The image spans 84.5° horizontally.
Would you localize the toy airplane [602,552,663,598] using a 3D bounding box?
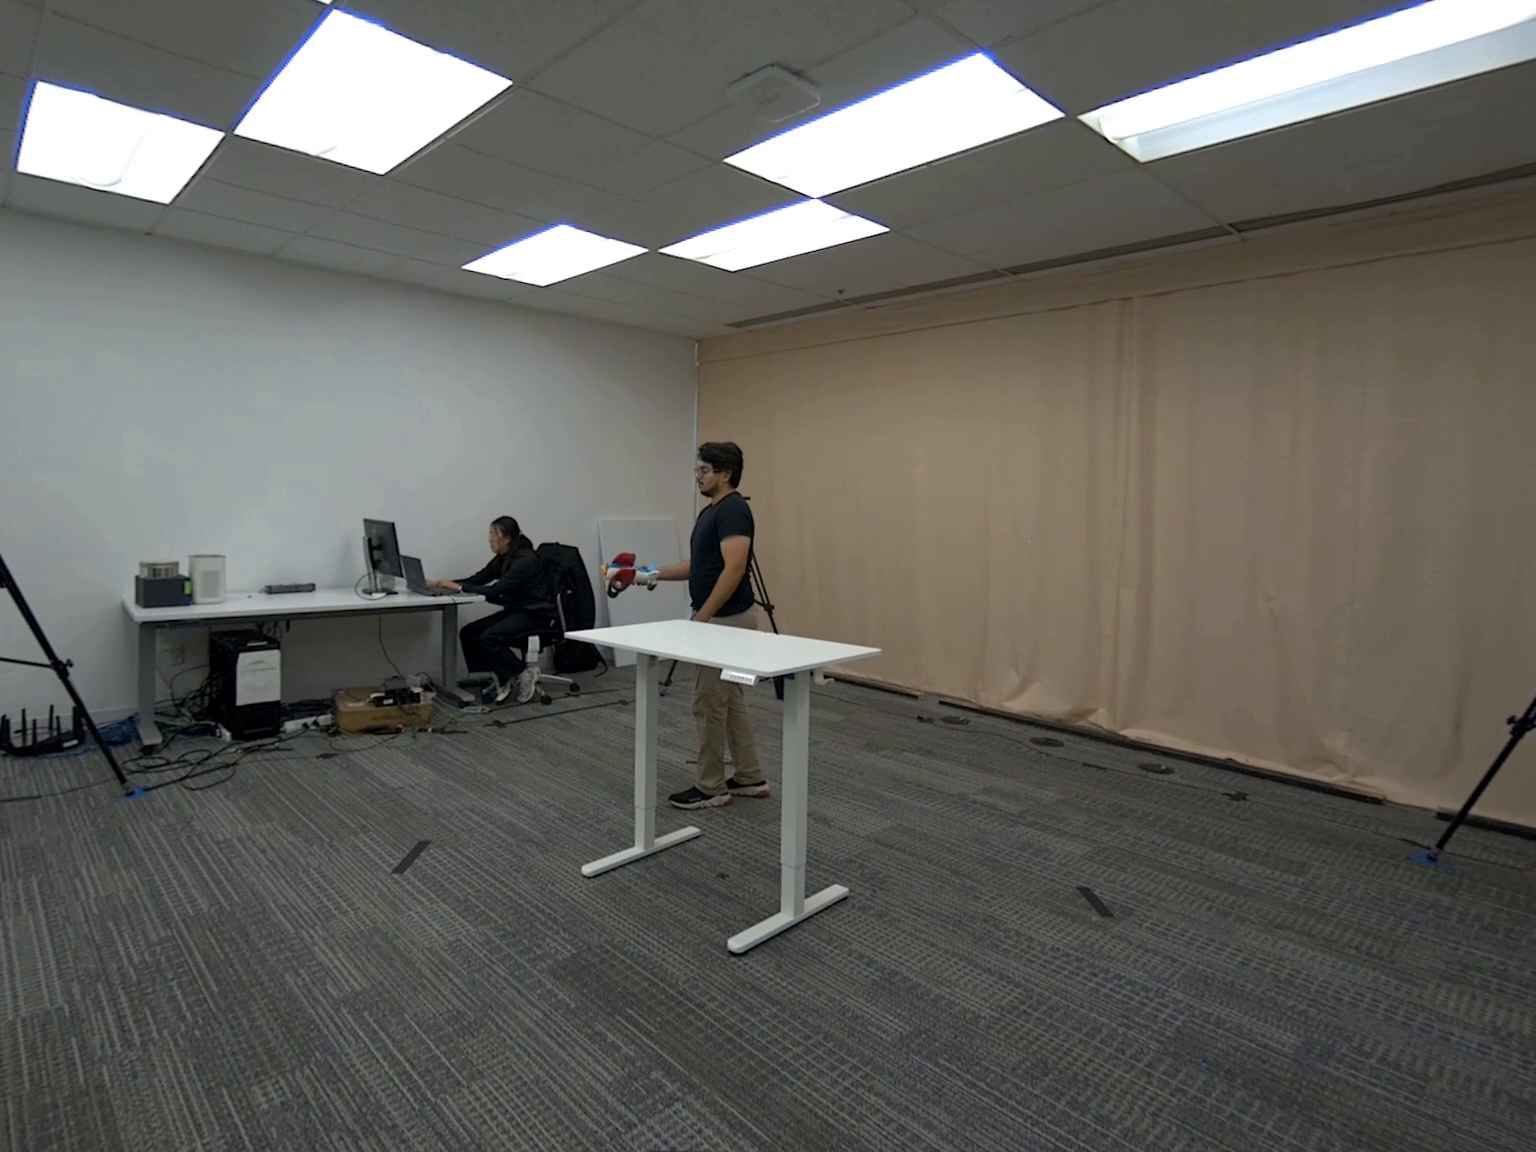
[{"bbox_3d":[-0.644,0.006,3.866,0.253,0.159,0.252,-30,-22,30],"label":"toy airplane"}]
